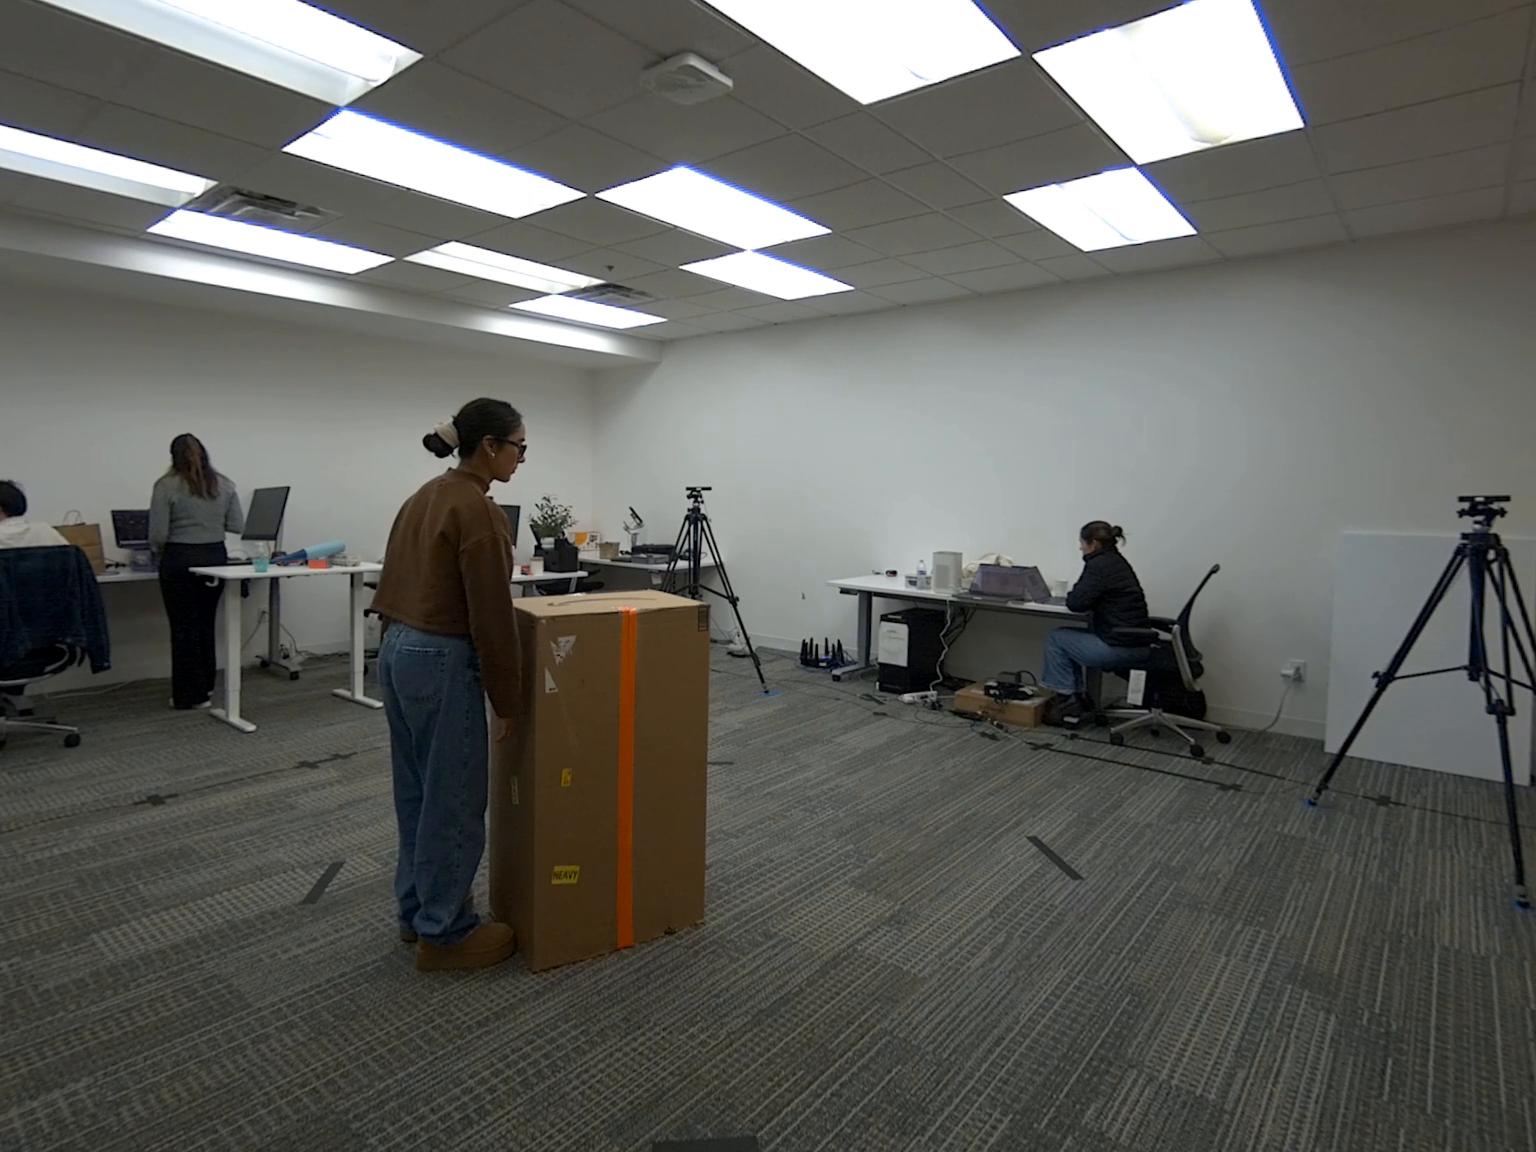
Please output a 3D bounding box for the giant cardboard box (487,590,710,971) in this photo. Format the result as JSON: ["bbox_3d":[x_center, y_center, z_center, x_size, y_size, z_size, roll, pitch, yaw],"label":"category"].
[{"bbox_3d":[-0.550,0.591,2.720,0.561,1.023,0.440,-1,4,-35],"label":"giant cardboard box"}]
